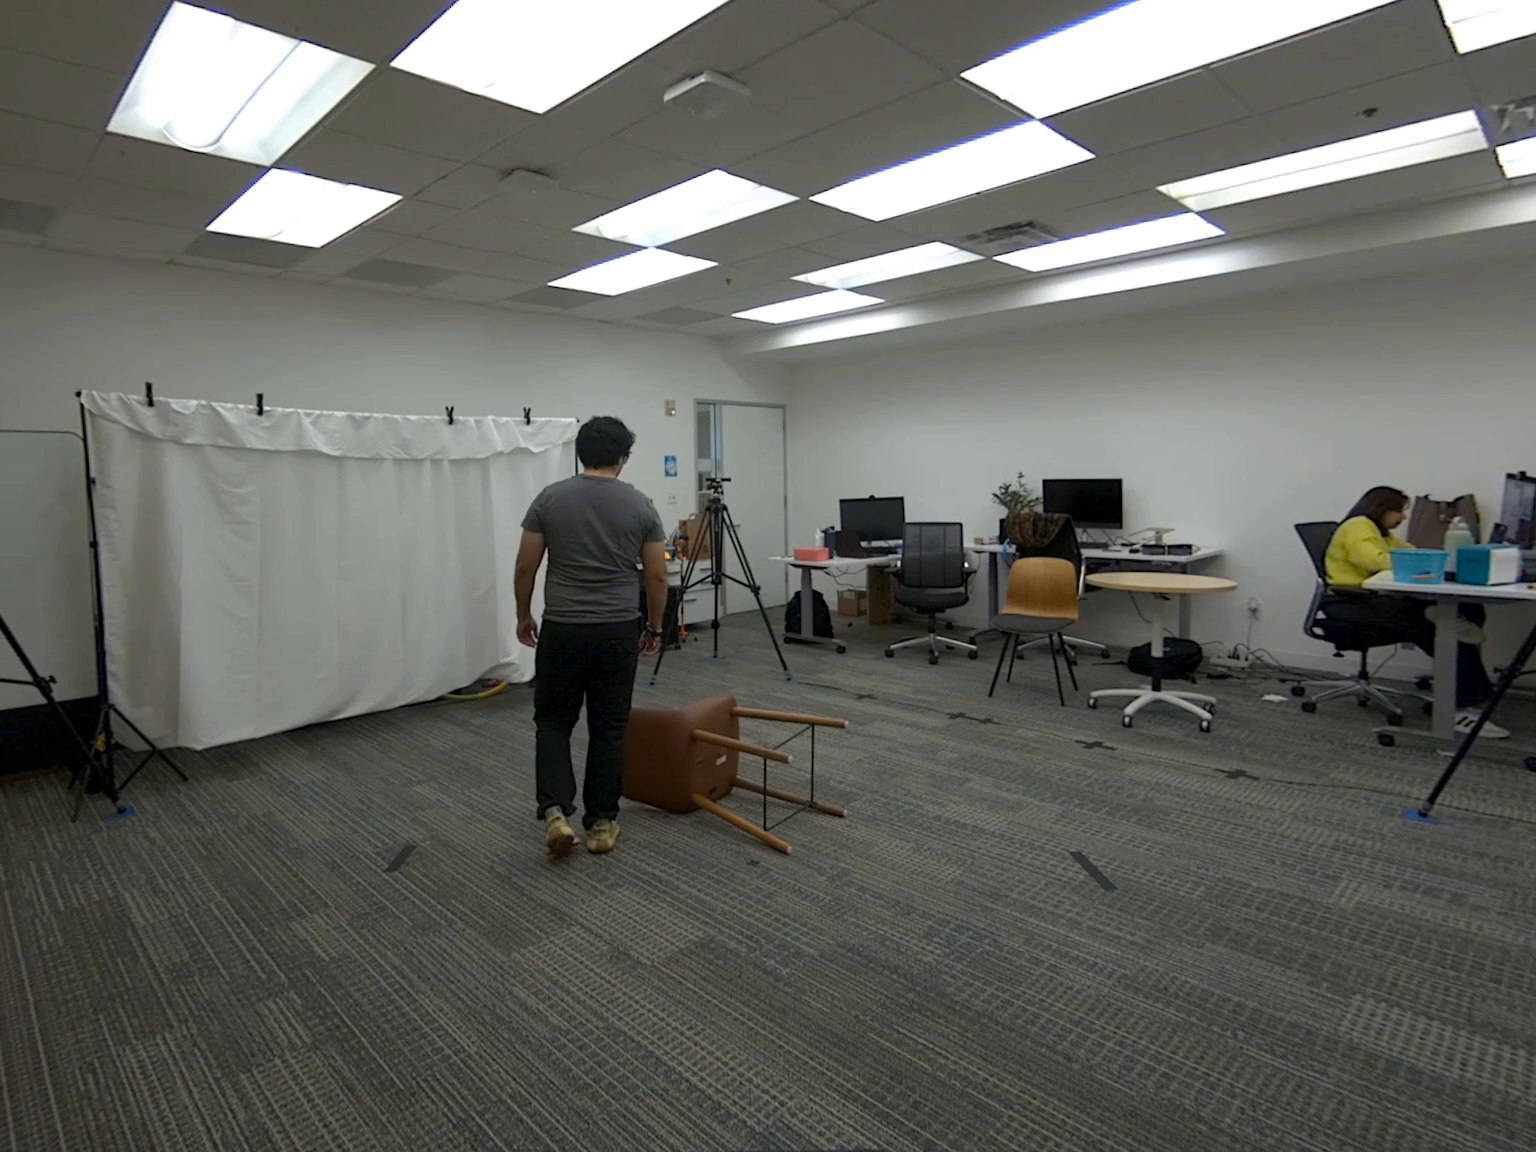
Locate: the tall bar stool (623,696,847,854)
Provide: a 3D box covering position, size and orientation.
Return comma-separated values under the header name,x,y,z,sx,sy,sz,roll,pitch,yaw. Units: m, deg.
name,x,y,z,sx,sy,sz,roll,pitch,yaw
tall bar stool,-0.163,0.779,3.574,0.916,0.453,0.457,5,10,34
